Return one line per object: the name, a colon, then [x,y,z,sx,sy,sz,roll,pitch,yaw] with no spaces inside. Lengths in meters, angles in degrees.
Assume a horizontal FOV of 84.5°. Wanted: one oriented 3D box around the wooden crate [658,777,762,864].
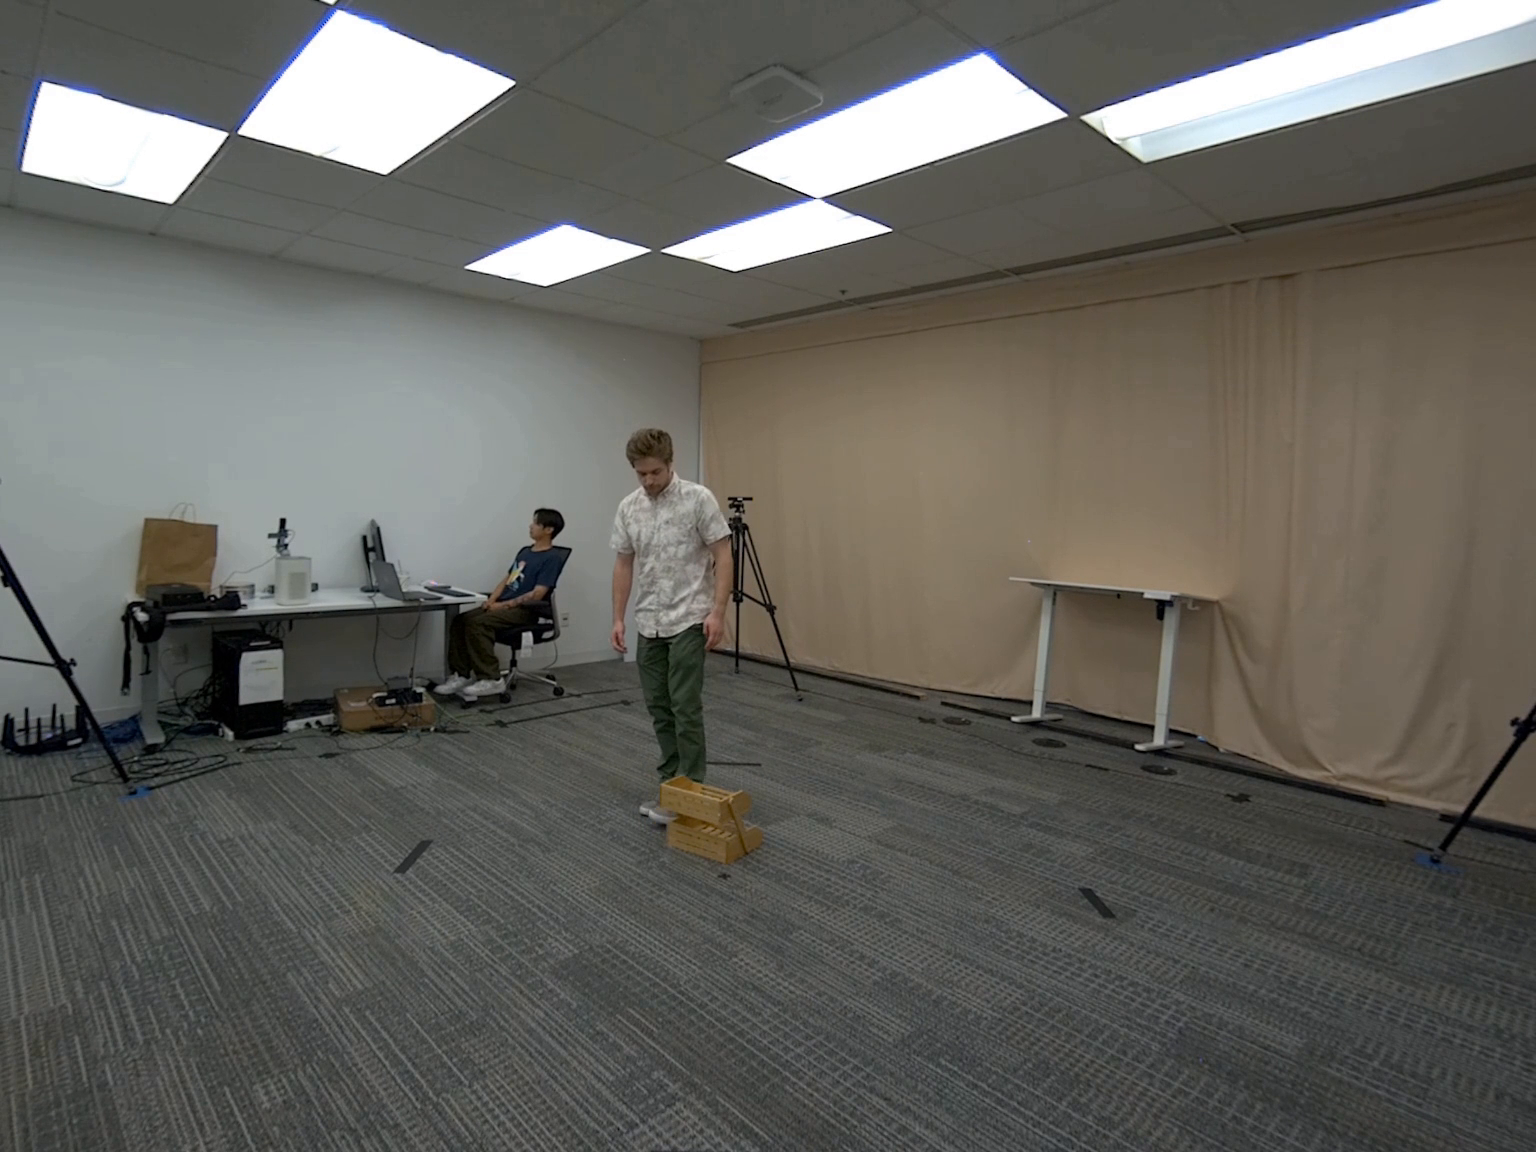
wooden crate: [-0.231,0.951,3.362,0.332,0.272,0.296,4,6,34]
